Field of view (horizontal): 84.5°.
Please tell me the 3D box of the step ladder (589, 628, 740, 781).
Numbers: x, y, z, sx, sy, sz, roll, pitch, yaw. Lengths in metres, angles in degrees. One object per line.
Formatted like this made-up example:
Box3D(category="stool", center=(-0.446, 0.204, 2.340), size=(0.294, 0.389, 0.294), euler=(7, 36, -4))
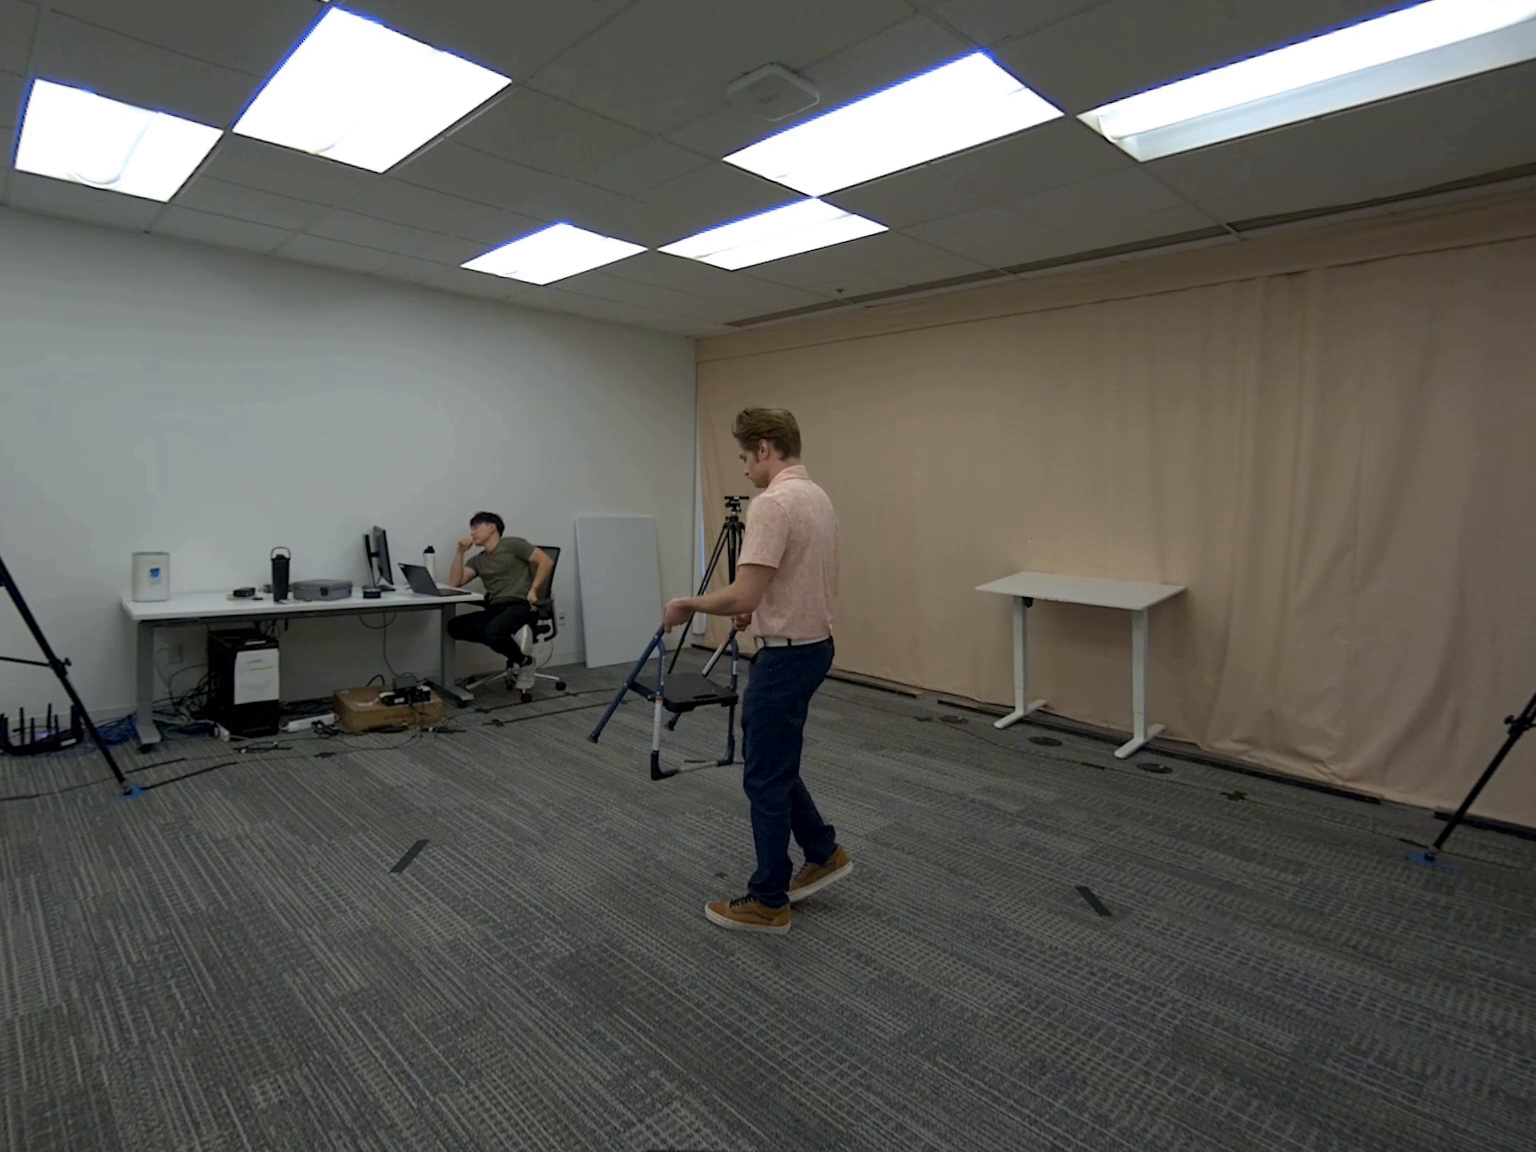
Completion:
Box3D(category="step ladder", center=(-0.299, 0.344, 2.955), size=(0.359, 0.604, 0.420), euler=(20, 8, 36))
